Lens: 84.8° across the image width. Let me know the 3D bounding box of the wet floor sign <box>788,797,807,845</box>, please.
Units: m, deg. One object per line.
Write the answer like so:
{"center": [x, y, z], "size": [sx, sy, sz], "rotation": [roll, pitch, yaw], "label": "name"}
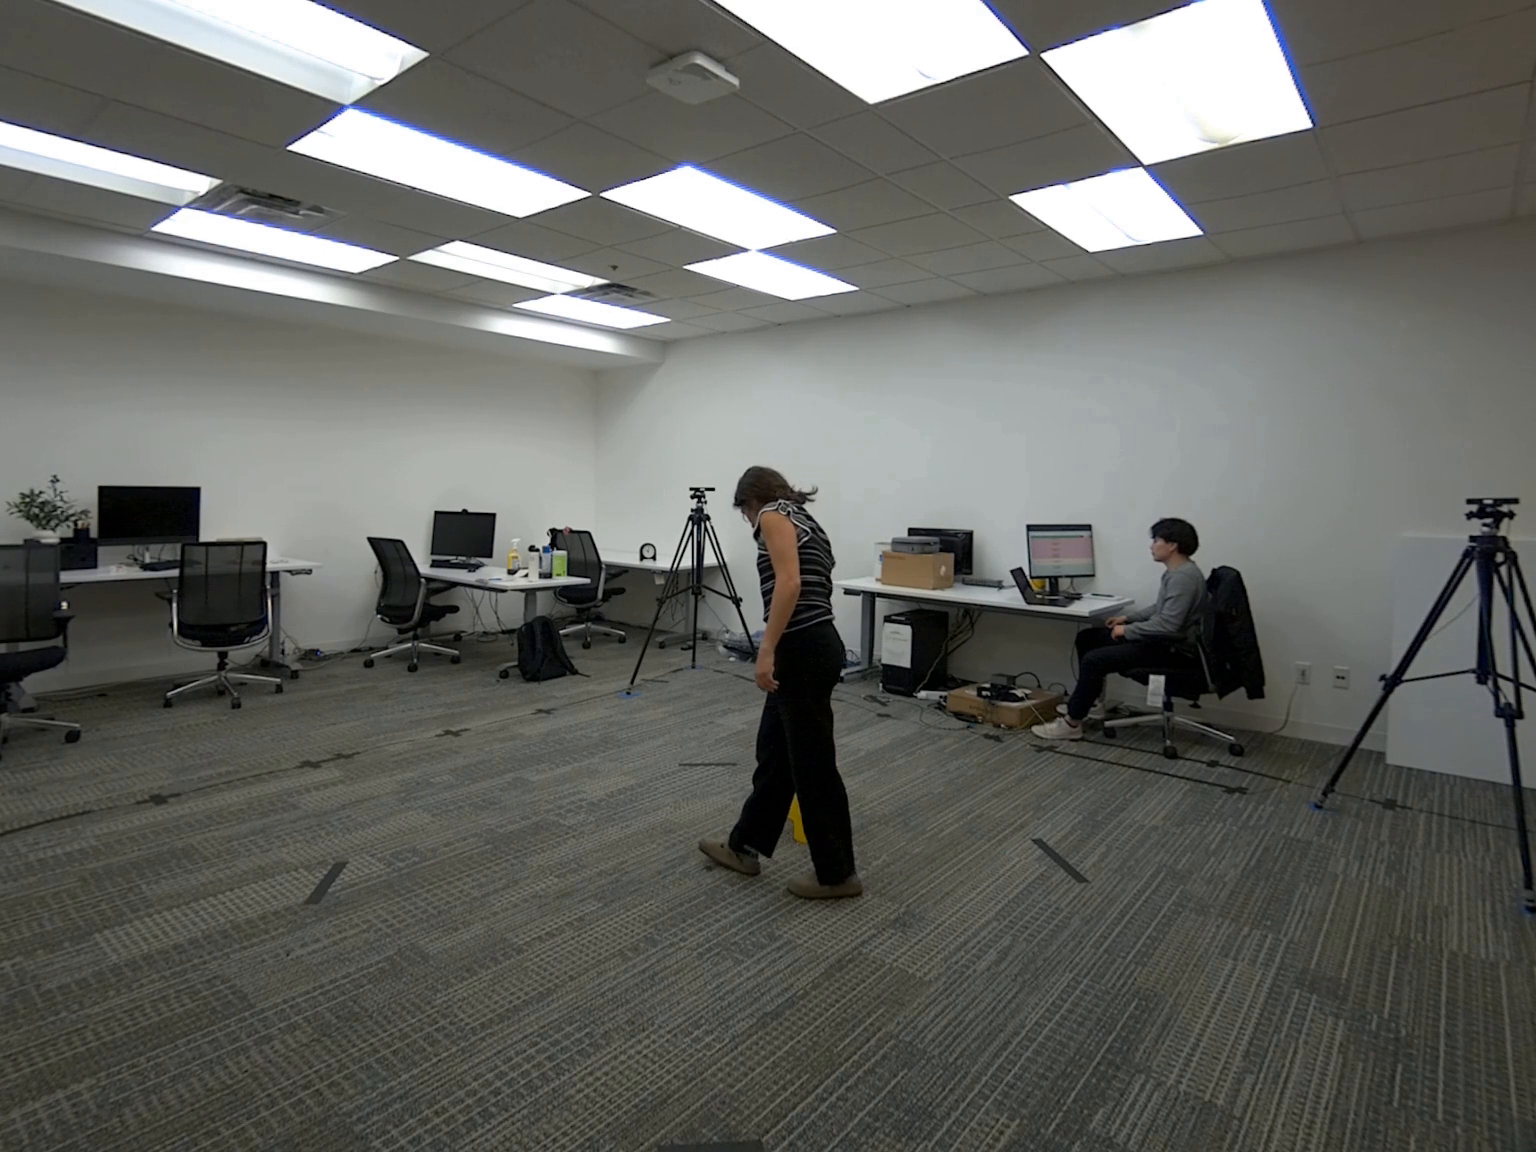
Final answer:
{"center": [0.119, 0.704, 3.506], "size": [0.291, 0.644, 0.281], "rotation": [4, 3, 37], "label": "wet floor sign"}
